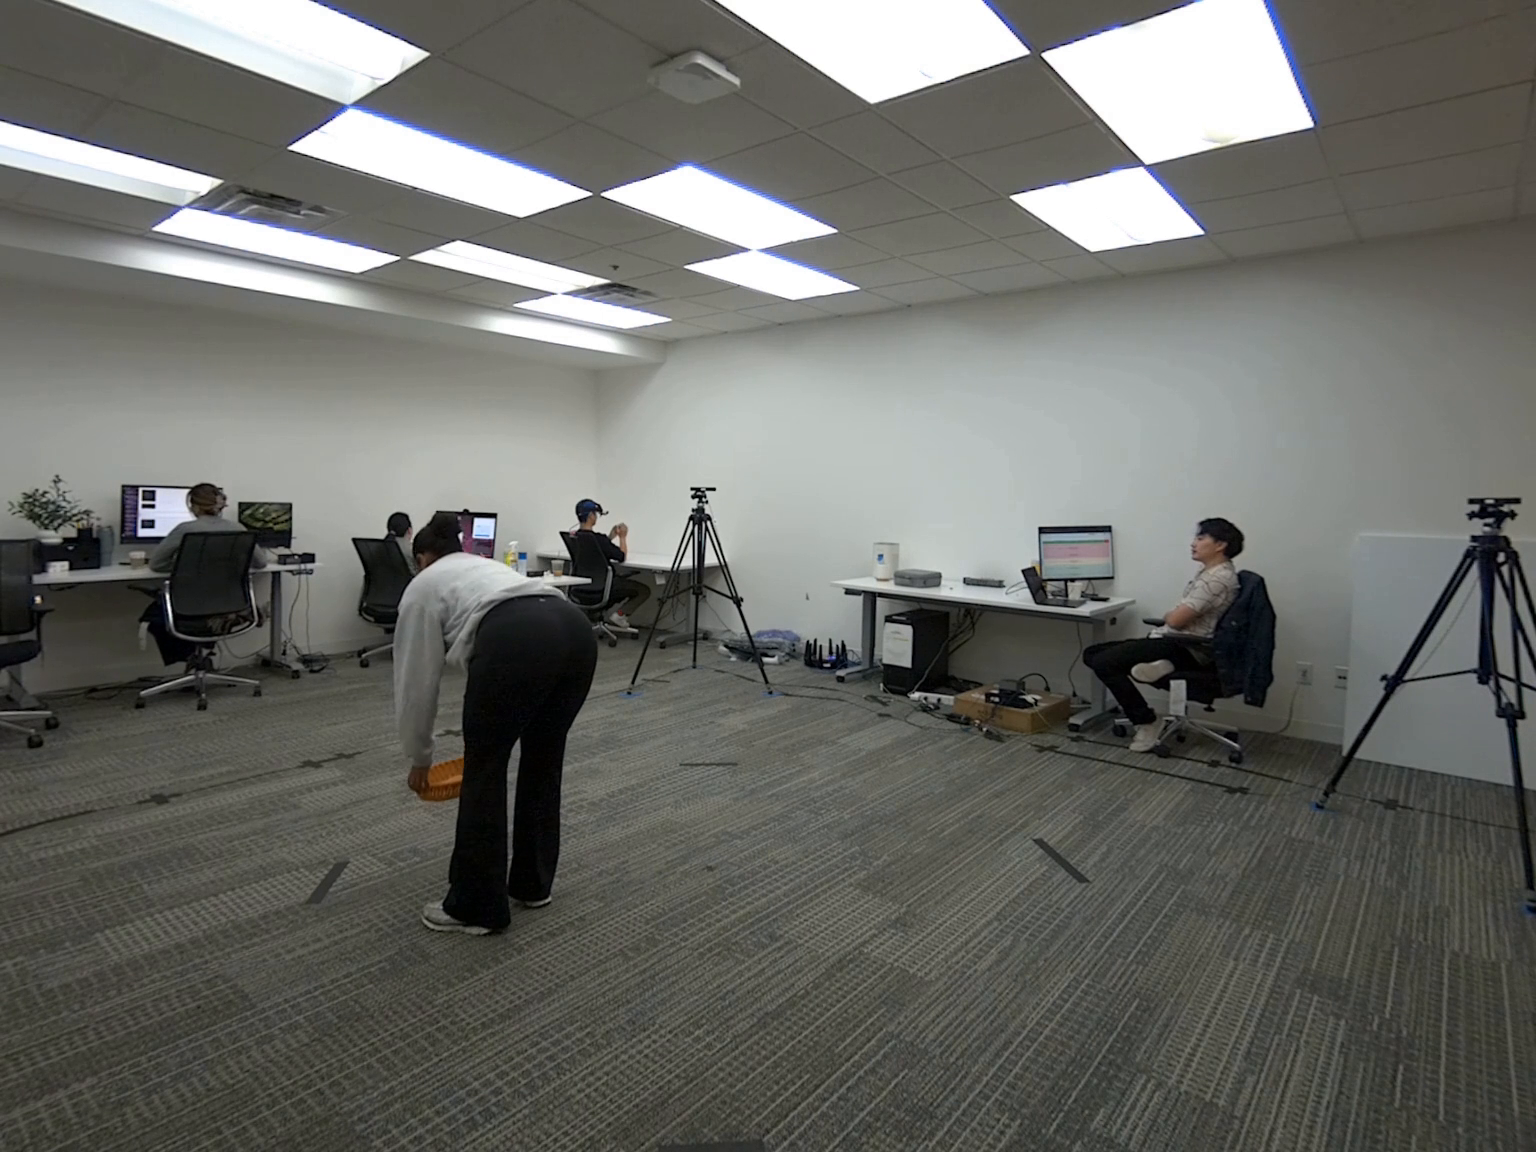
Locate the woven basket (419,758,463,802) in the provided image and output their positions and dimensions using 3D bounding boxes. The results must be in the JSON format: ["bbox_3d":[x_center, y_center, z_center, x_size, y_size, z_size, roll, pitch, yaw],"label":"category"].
[{"bbox_3d":[-1.119,0.711,2.996,0.260,0.073,0.342,0,6,32],"label":"woven basket"}]
